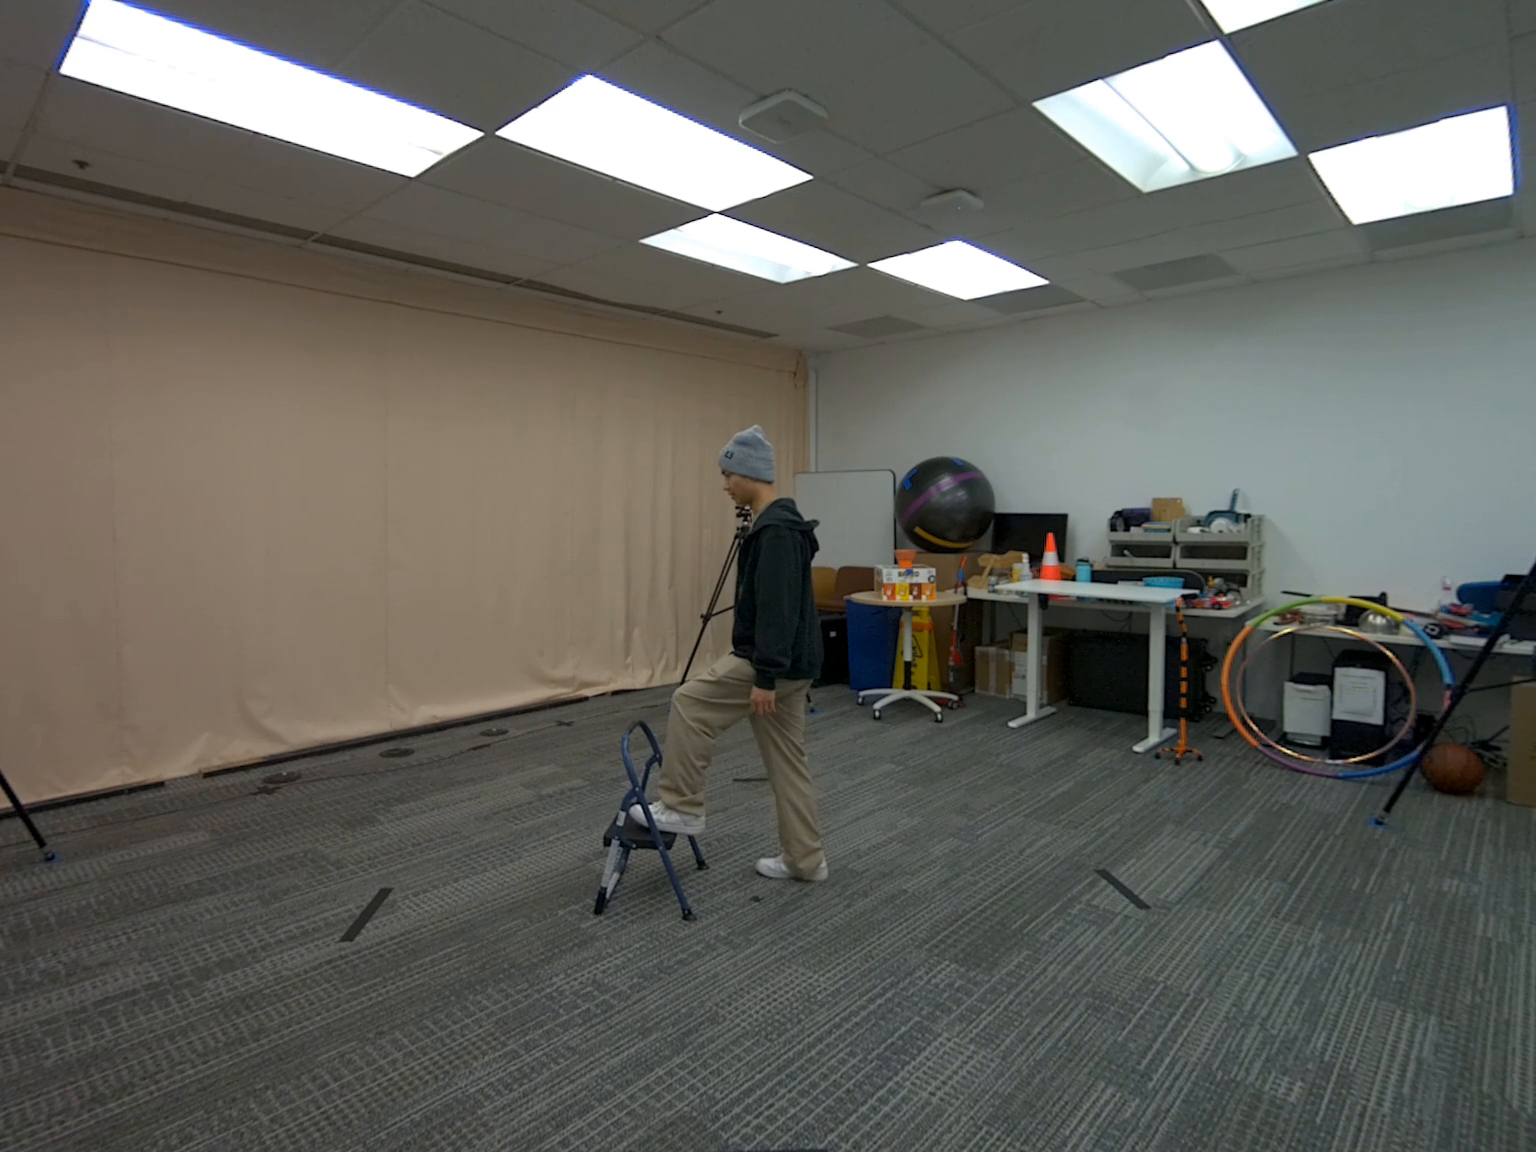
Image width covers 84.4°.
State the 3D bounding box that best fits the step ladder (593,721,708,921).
[{"bbox_3d":[-0.413,0.843,3.043,0.351,0.605,0.430,0,4,3],"label":"step ladder"}]
